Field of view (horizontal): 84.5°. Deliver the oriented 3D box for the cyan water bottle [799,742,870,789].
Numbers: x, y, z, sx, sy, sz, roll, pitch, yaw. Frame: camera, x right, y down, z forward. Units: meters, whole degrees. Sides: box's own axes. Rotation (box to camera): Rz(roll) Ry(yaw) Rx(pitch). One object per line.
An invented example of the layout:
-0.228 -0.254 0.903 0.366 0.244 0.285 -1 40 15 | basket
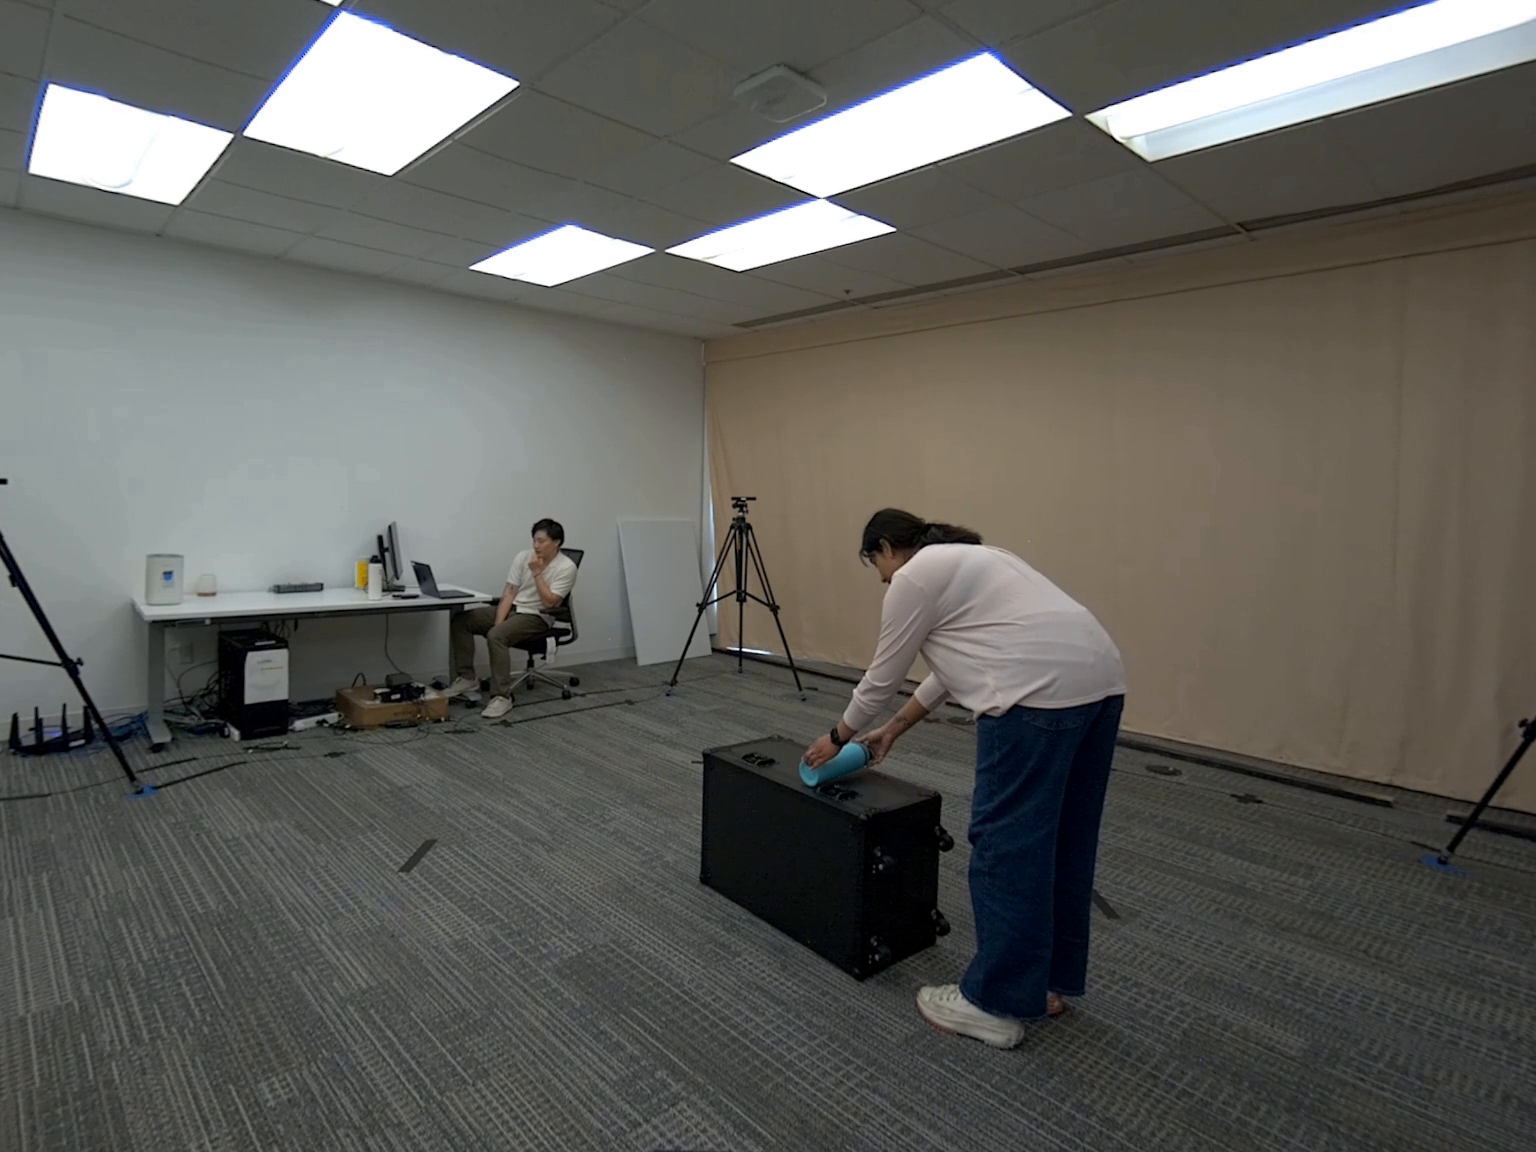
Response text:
0.227 0.607 2.762 0.277 0.092 0.095 -9 10 -42 | cyan water bottle
